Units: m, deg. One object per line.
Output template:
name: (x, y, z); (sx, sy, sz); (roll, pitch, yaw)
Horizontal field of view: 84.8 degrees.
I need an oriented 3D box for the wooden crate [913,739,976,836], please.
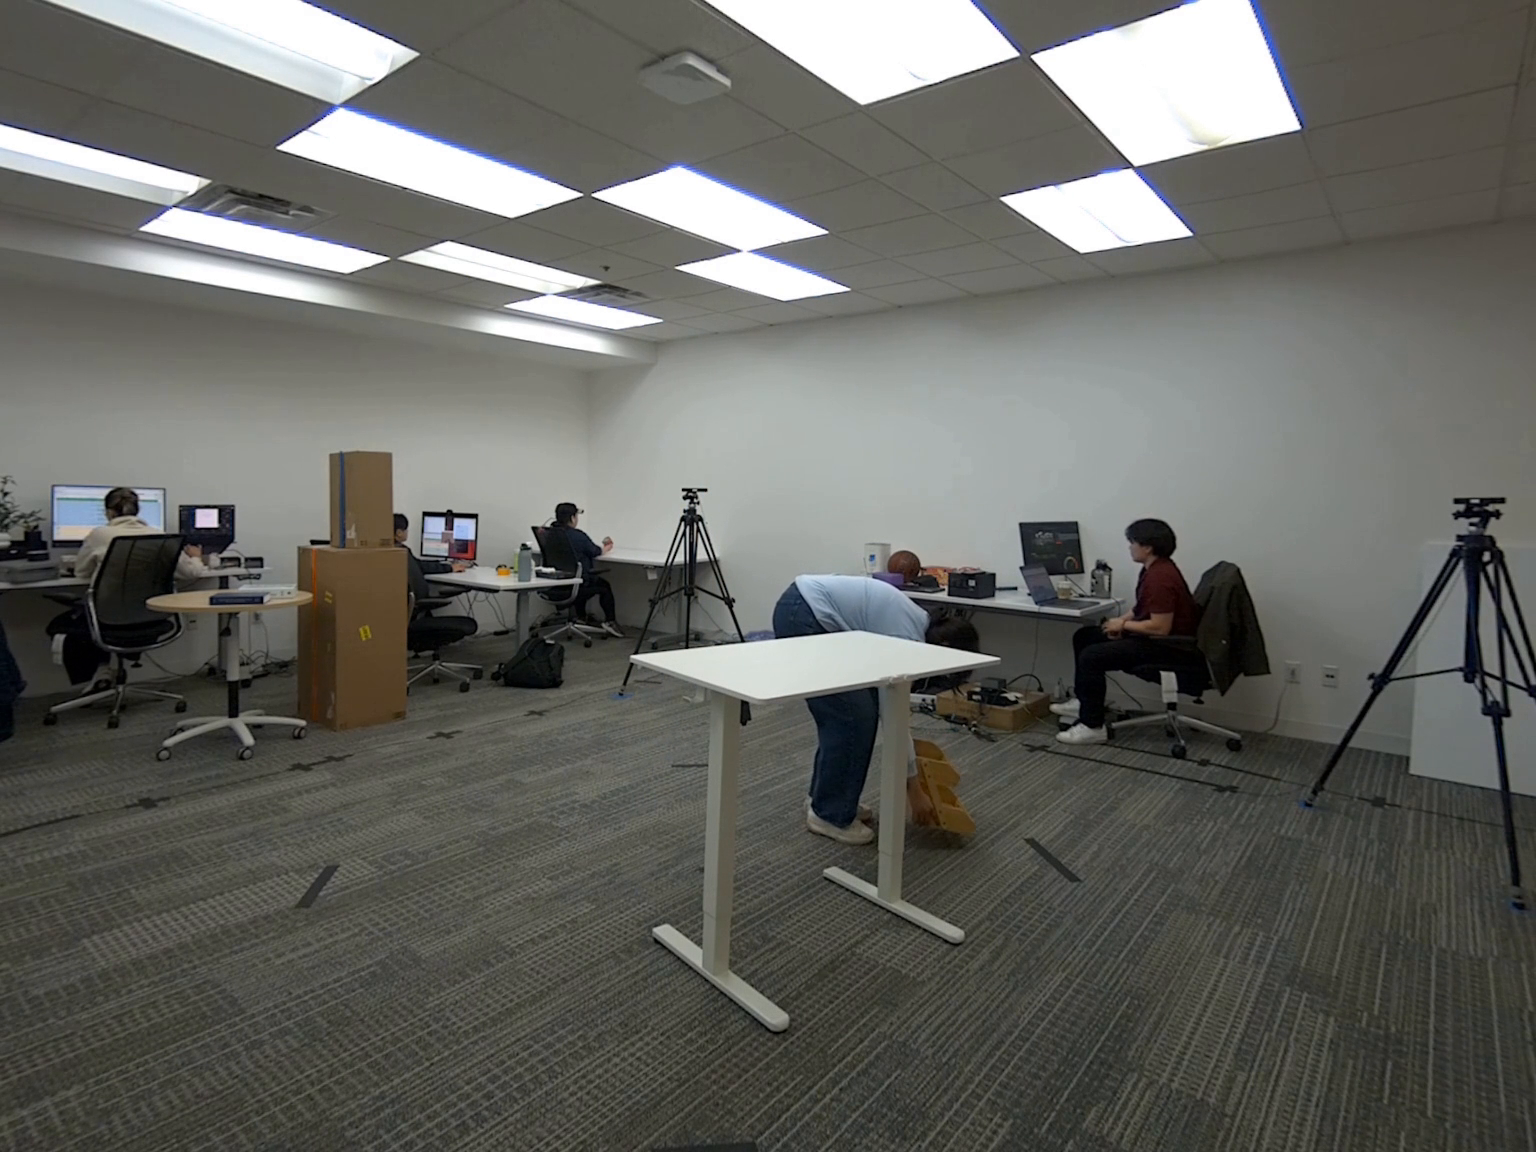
wooden crate: (0.674, 0.839, 3.464); (0.303, 0.272, 0.325); (10, 4, 1)
